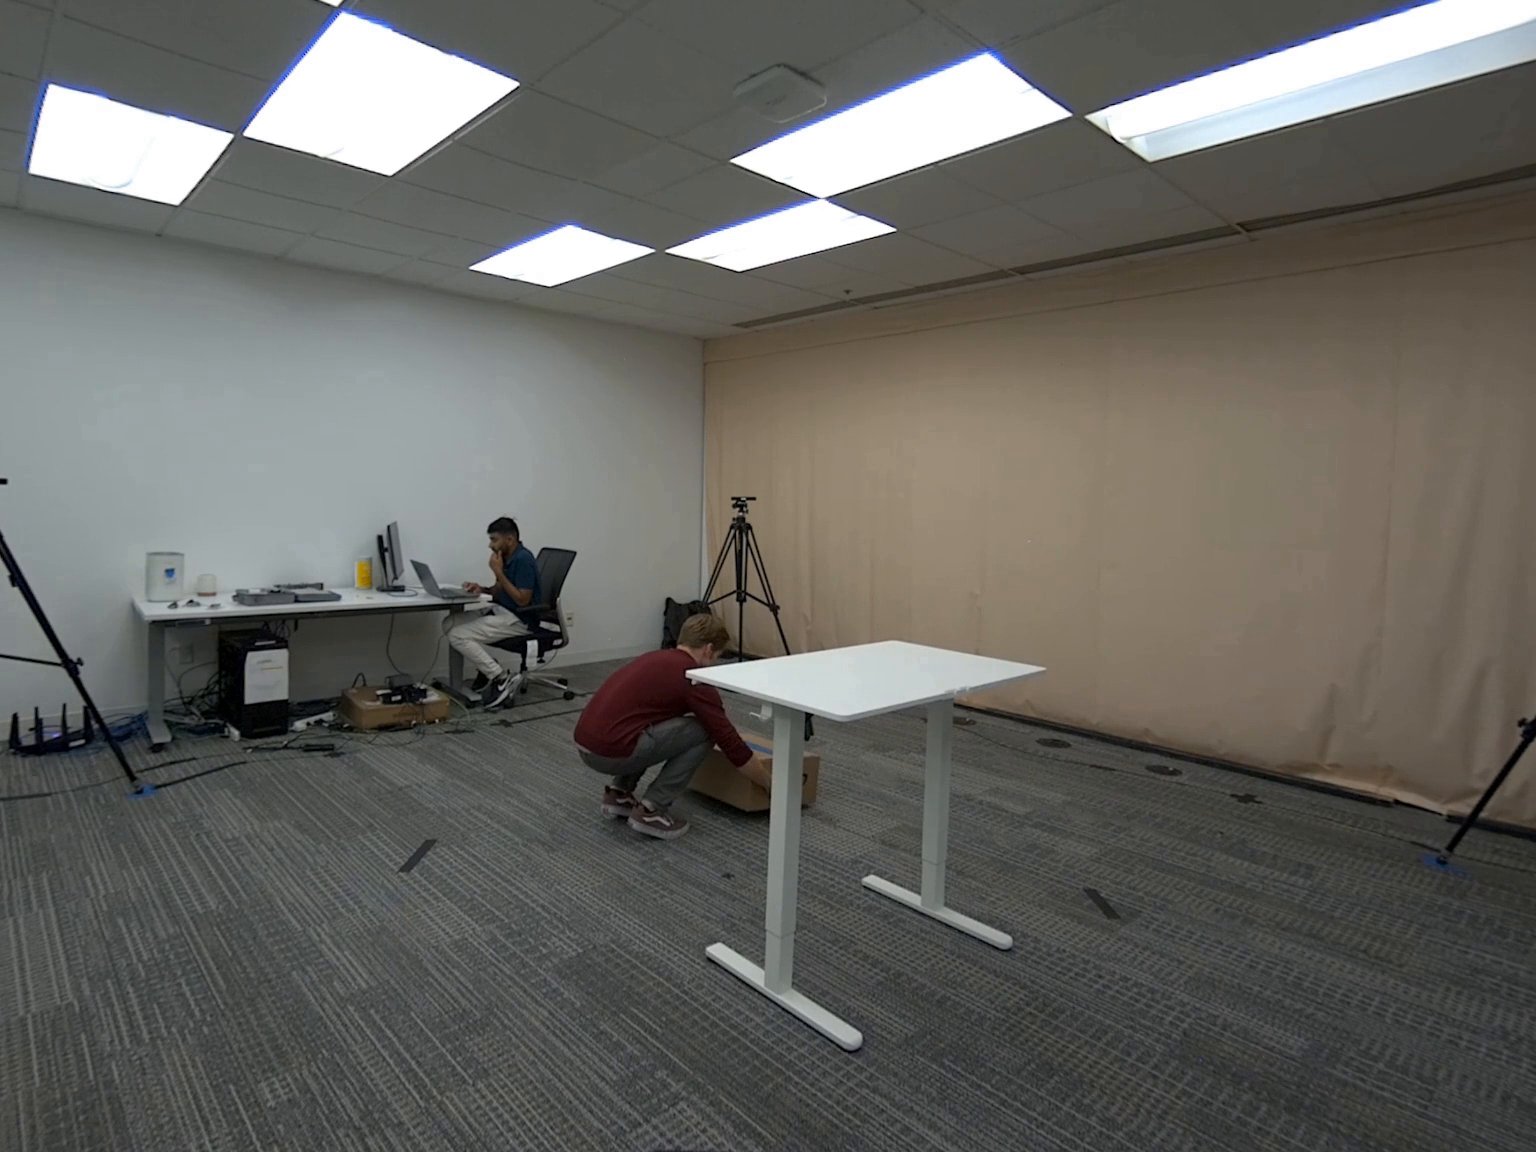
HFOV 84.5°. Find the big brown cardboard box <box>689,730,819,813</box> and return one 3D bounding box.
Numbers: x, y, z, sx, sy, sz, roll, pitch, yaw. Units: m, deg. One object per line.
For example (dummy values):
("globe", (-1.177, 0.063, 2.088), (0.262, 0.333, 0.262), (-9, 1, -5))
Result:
("big brown cardboard box", (-0.121, 0.889, 3.923), (0.407, 0.233, 0.604), (6, 0, -41))
